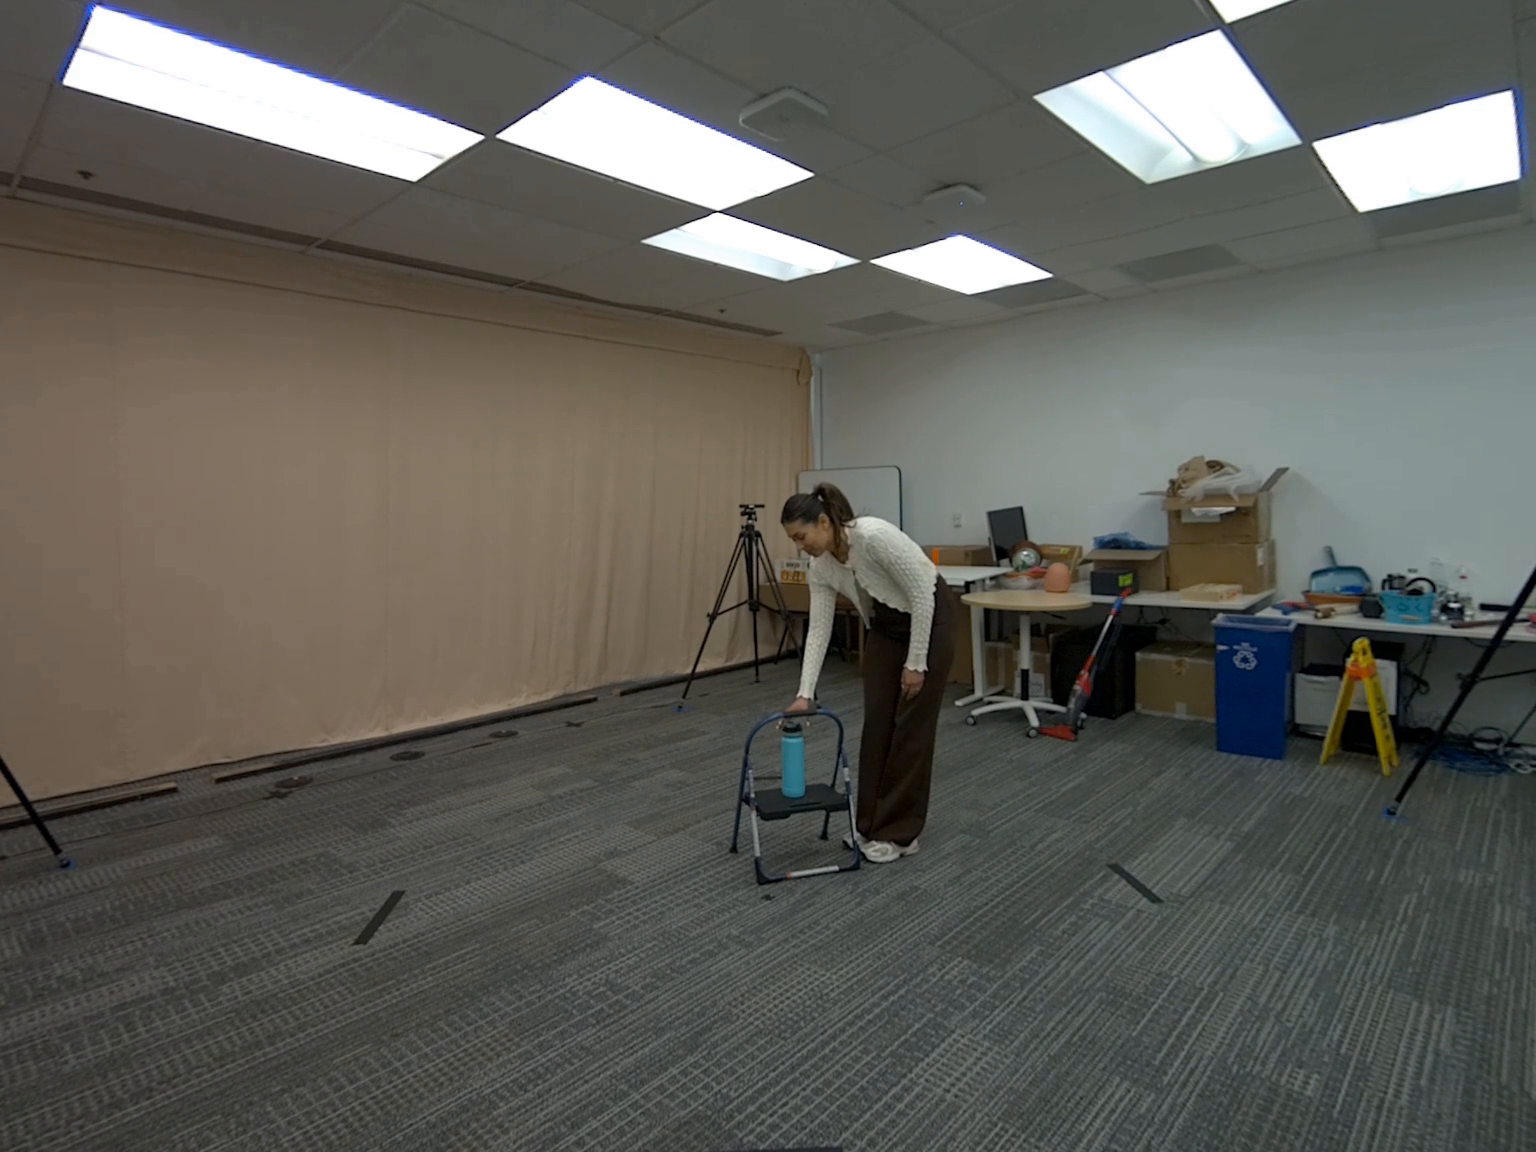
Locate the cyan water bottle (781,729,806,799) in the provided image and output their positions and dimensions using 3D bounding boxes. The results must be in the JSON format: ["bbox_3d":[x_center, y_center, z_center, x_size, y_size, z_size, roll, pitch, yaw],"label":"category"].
[{"bbox_3d":[0.107,0.713,3.287,0.092,0.283,0.092,1,2,-2],"label":"cyan water bottle"}]
